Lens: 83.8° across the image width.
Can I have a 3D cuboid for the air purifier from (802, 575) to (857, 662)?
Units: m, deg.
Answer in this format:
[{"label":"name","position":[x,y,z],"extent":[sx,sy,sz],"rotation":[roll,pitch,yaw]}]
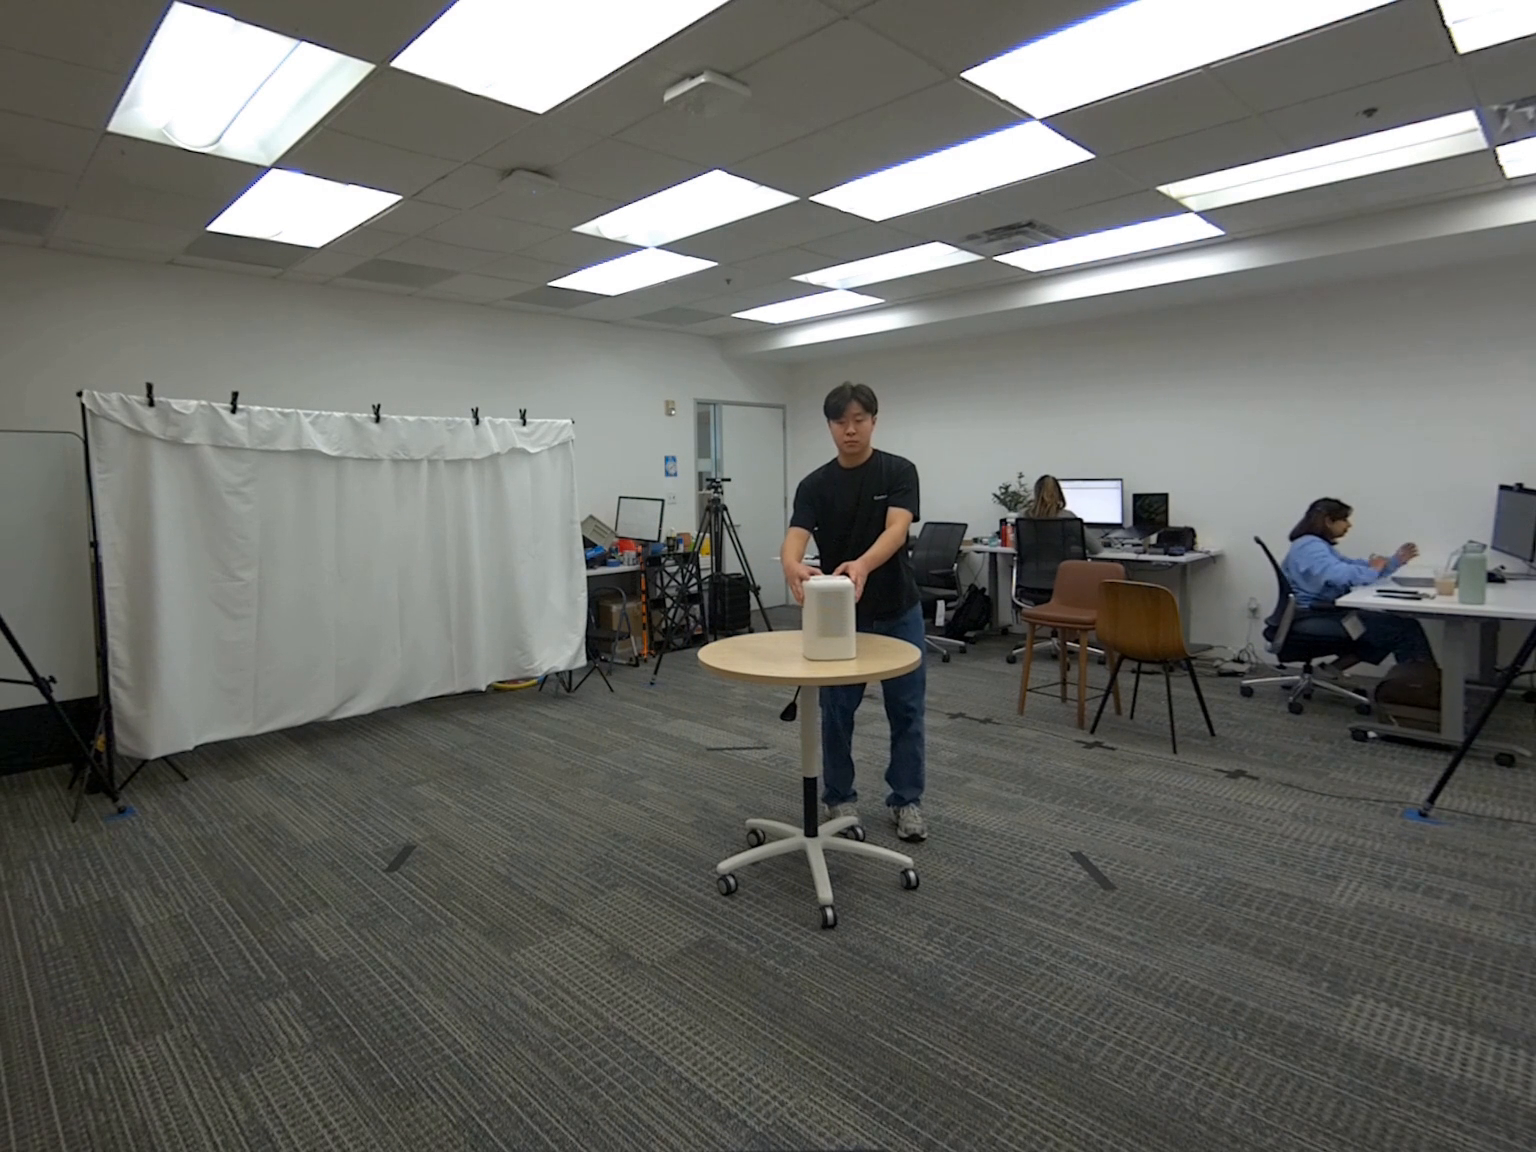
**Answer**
[{"label":"air purifier","position":[0.205,0.137,2.869],"extent":[0.172,0.264,0.171],"rotation":[-3,4,0]}]
